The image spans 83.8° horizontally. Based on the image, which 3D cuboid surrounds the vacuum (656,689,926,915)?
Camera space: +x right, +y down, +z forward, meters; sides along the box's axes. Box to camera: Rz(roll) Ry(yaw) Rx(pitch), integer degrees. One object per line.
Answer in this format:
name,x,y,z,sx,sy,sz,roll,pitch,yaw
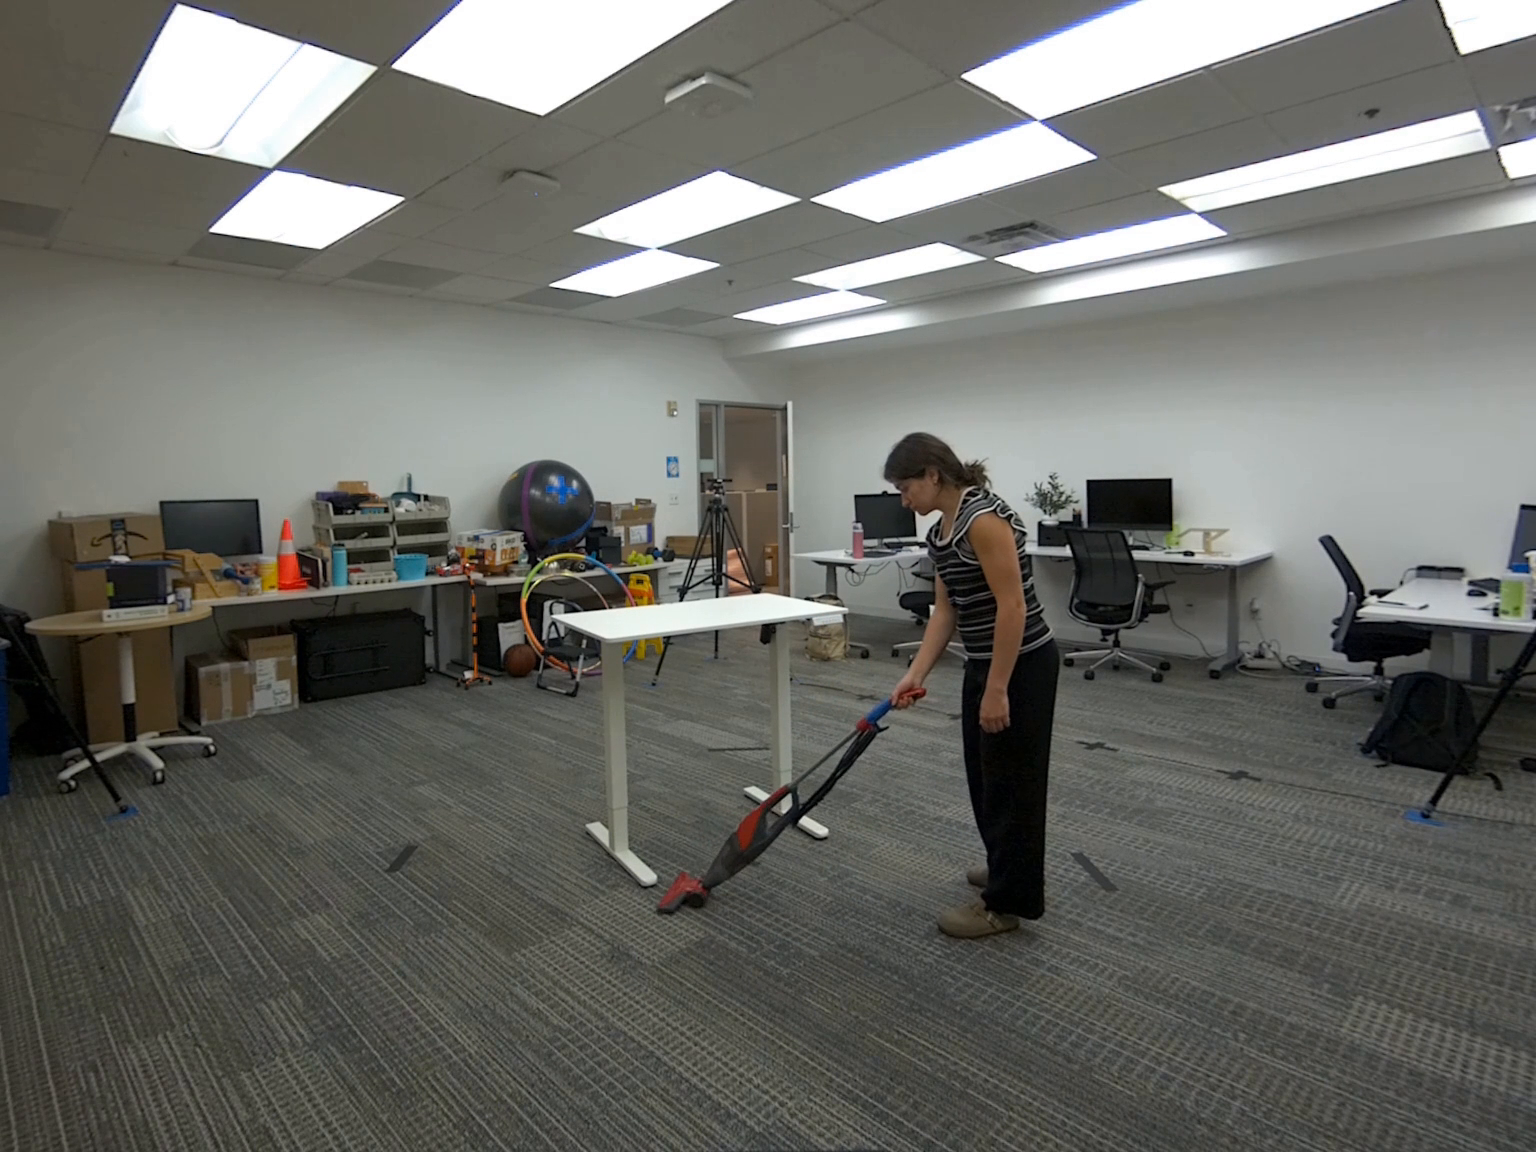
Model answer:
vacuum,0.096,0.718,2.737,1.050,0.143,0.253,-45,4,12
